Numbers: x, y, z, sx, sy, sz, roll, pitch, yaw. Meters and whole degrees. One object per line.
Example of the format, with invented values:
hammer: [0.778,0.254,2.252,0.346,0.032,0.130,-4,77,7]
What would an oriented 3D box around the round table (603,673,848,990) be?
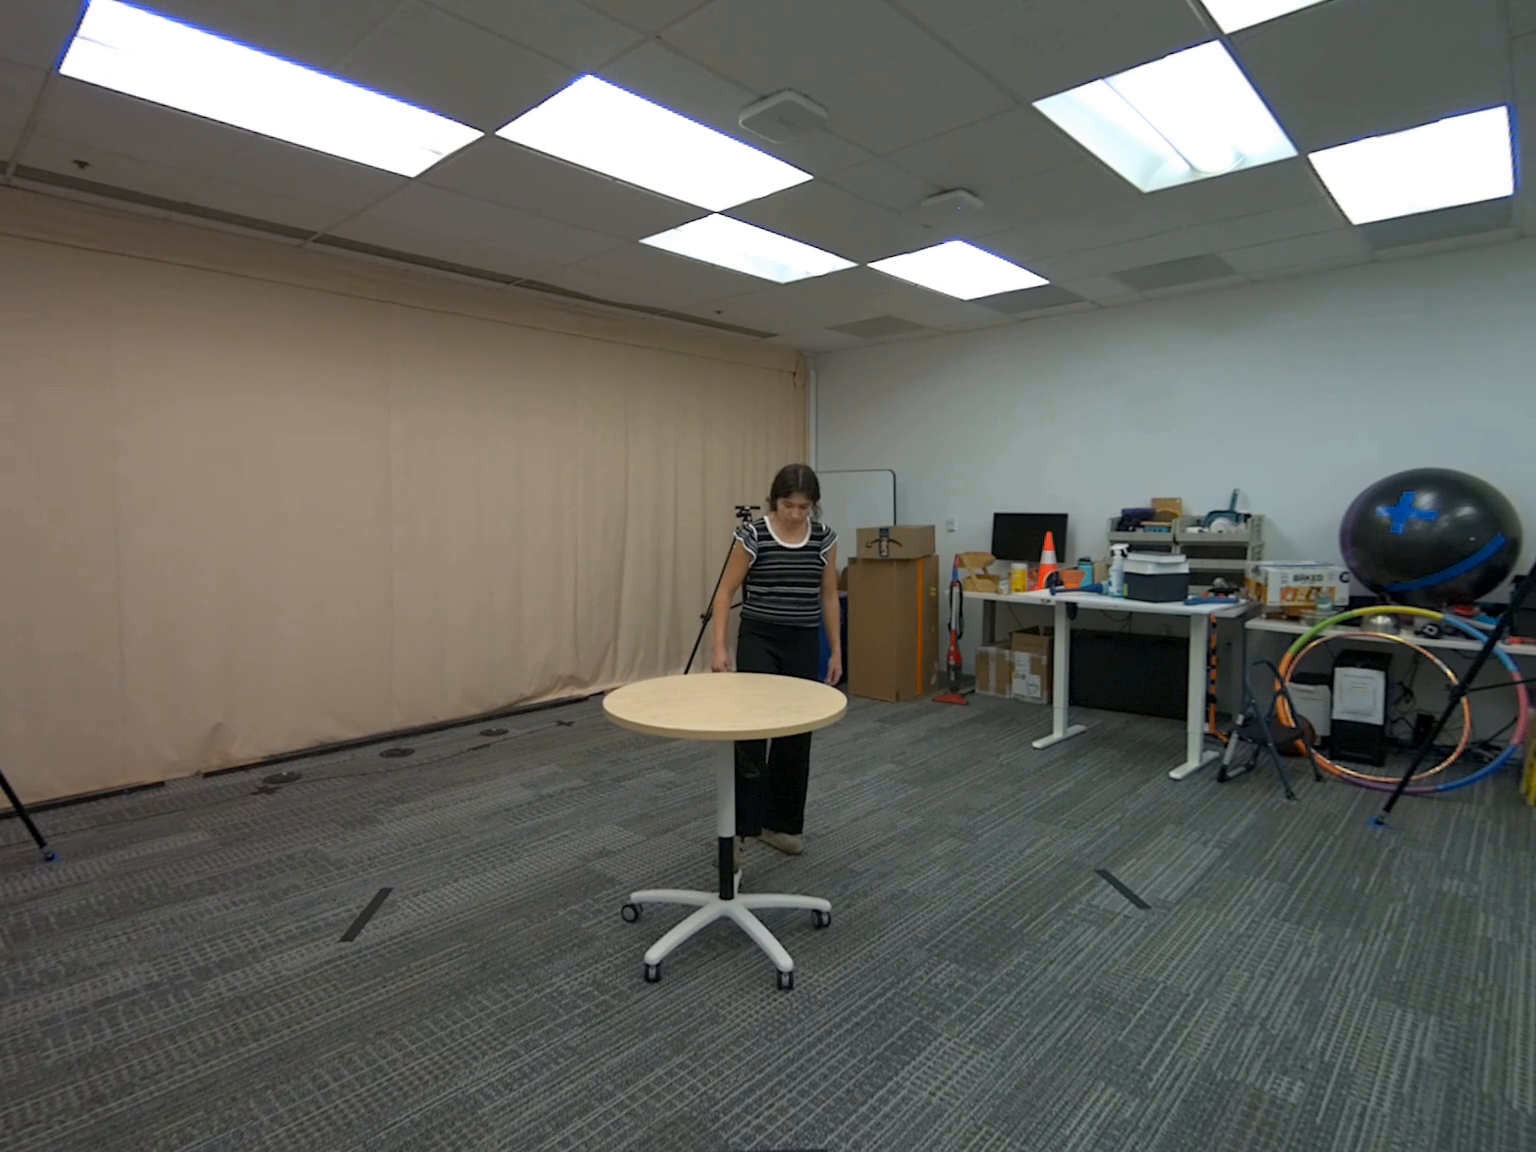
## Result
round table: [-0.133,0.774,2.697,0.784,0.784,0.788,0,5,-2]
